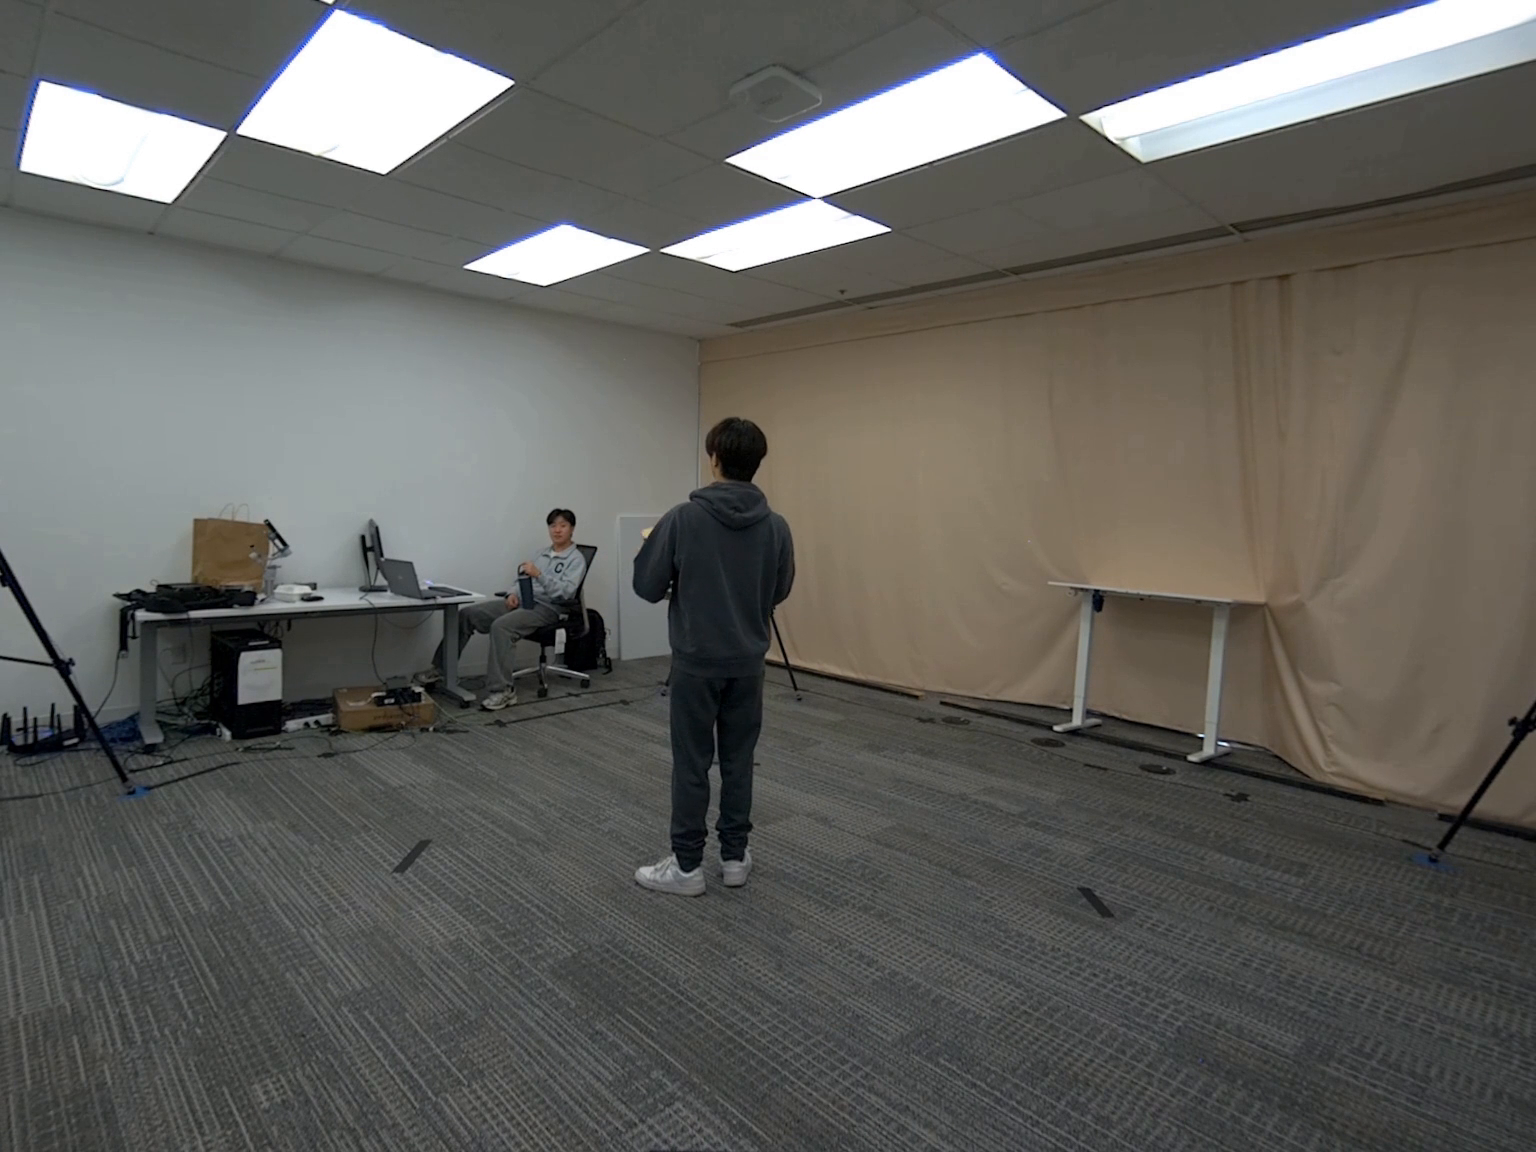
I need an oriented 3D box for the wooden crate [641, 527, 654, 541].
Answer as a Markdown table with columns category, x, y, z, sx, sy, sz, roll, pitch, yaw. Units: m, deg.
| category | x | y | z | sx | sy | sz | roll | pitch | yaw |
| --- | --- | --- | --- | --- | --- | --- | --- | --- | --- |
| wooden crate | -0.304 | -0.092 | 3.316 | 0.306 | 0.317 | 0.276 | 7 | 39 | 16 |
